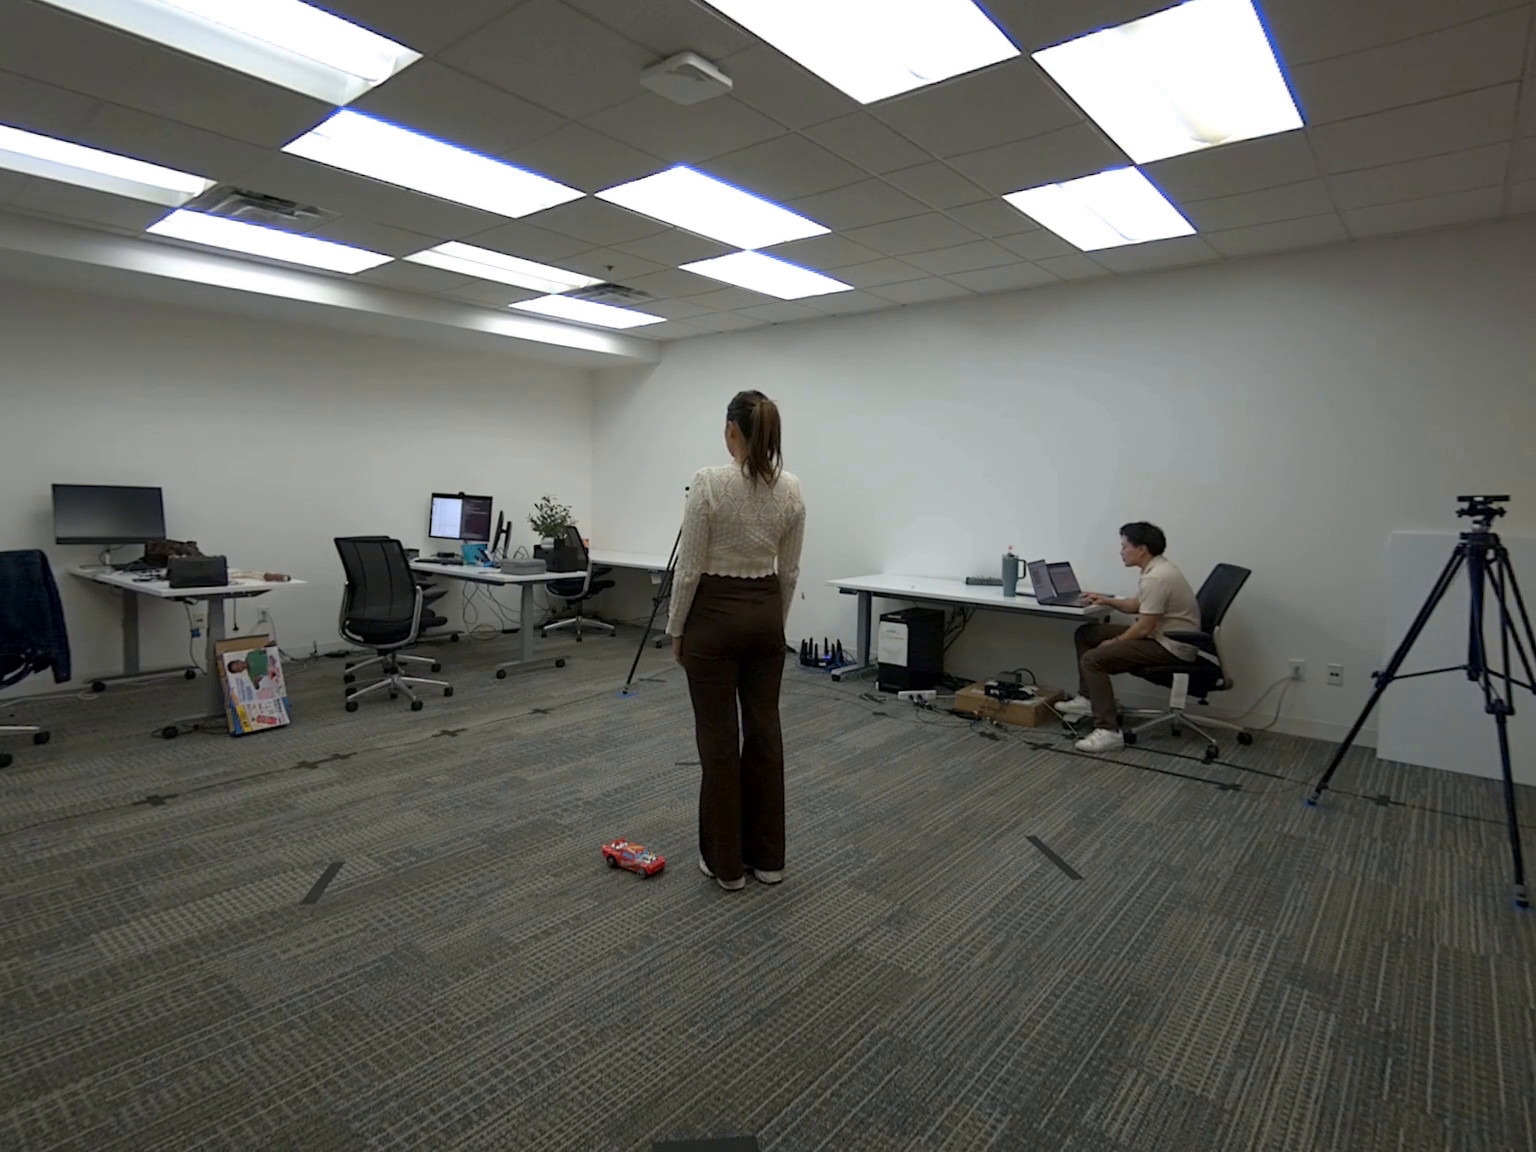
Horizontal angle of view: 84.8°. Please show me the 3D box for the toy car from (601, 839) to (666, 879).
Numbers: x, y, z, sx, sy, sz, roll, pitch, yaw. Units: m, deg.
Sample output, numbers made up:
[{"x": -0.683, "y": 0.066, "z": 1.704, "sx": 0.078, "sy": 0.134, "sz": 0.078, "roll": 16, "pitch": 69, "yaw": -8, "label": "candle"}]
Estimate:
[{"x": -0.513, "y": 1.037, "z": 3.112, "sx": 0.264, "sy": 0.082, "sz": 0.126, "roll": 18, "pitch": 13, "yaw": 35, "label": "toy car"}]
